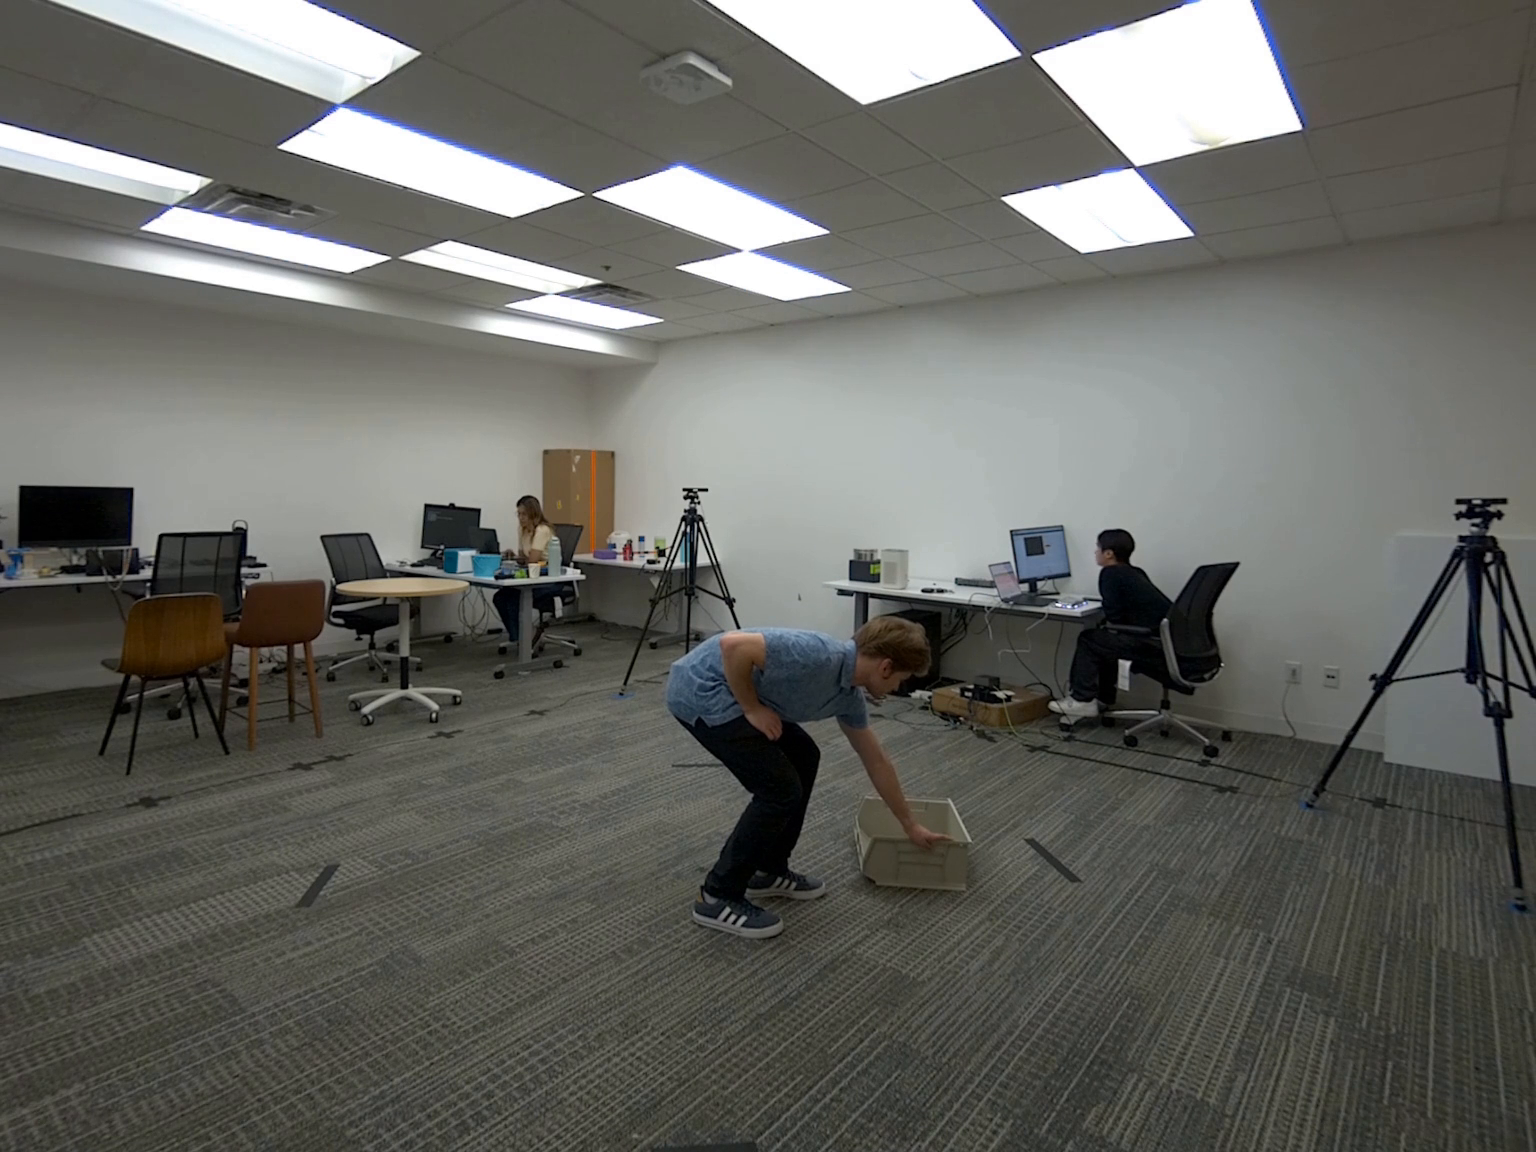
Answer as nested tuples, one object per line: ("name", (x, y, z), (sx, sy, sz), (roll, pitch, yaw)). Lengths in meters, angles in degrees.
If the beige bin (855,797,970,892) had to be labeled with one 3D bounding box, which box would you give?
("beige bin", (0.524, 0.986, 3.199), (0.379, 0.188, 0.422), (2, 5, 3))
